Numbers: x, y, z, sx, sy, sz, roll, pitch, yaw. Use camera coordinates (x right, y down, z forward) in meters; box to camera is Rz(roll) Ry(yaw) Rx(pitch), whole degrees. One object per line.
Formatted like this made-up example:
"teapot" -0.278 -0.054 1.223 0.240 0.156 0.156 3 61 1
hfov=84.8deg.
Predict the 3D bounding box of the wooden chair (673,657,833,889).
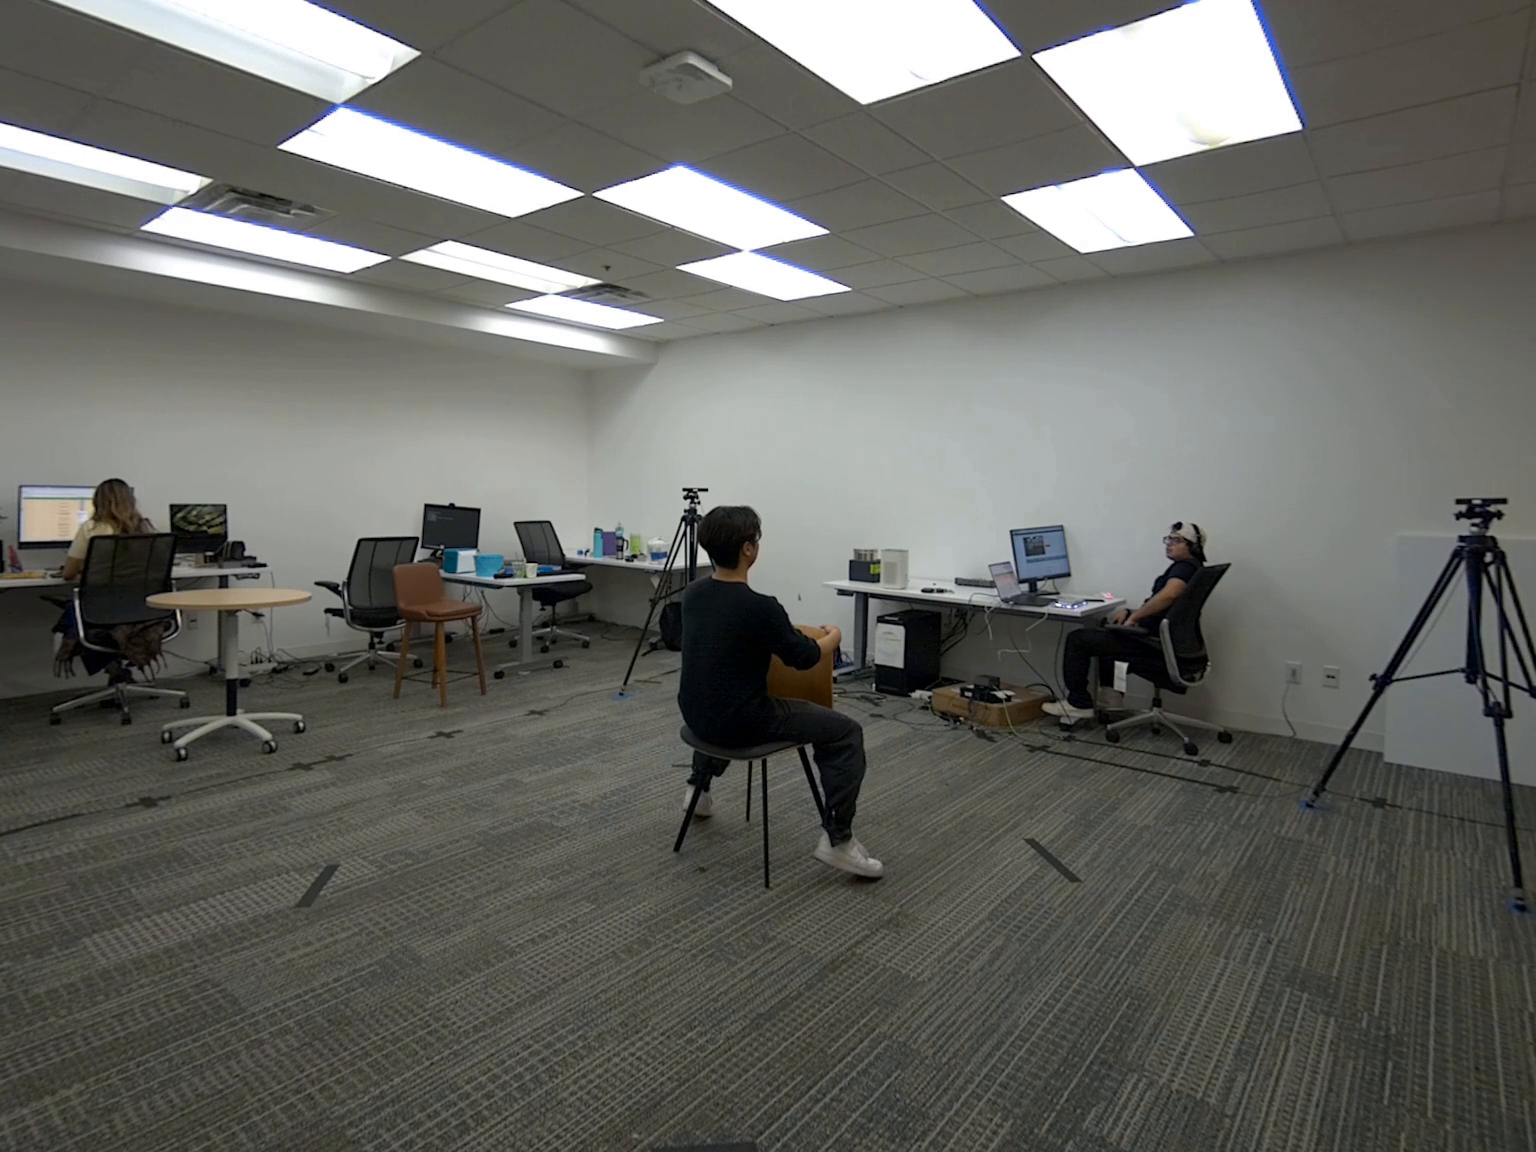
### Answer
"wooden chair" -0.052 0.632 3.244 0.494 0.877 0.506 4 1 39
